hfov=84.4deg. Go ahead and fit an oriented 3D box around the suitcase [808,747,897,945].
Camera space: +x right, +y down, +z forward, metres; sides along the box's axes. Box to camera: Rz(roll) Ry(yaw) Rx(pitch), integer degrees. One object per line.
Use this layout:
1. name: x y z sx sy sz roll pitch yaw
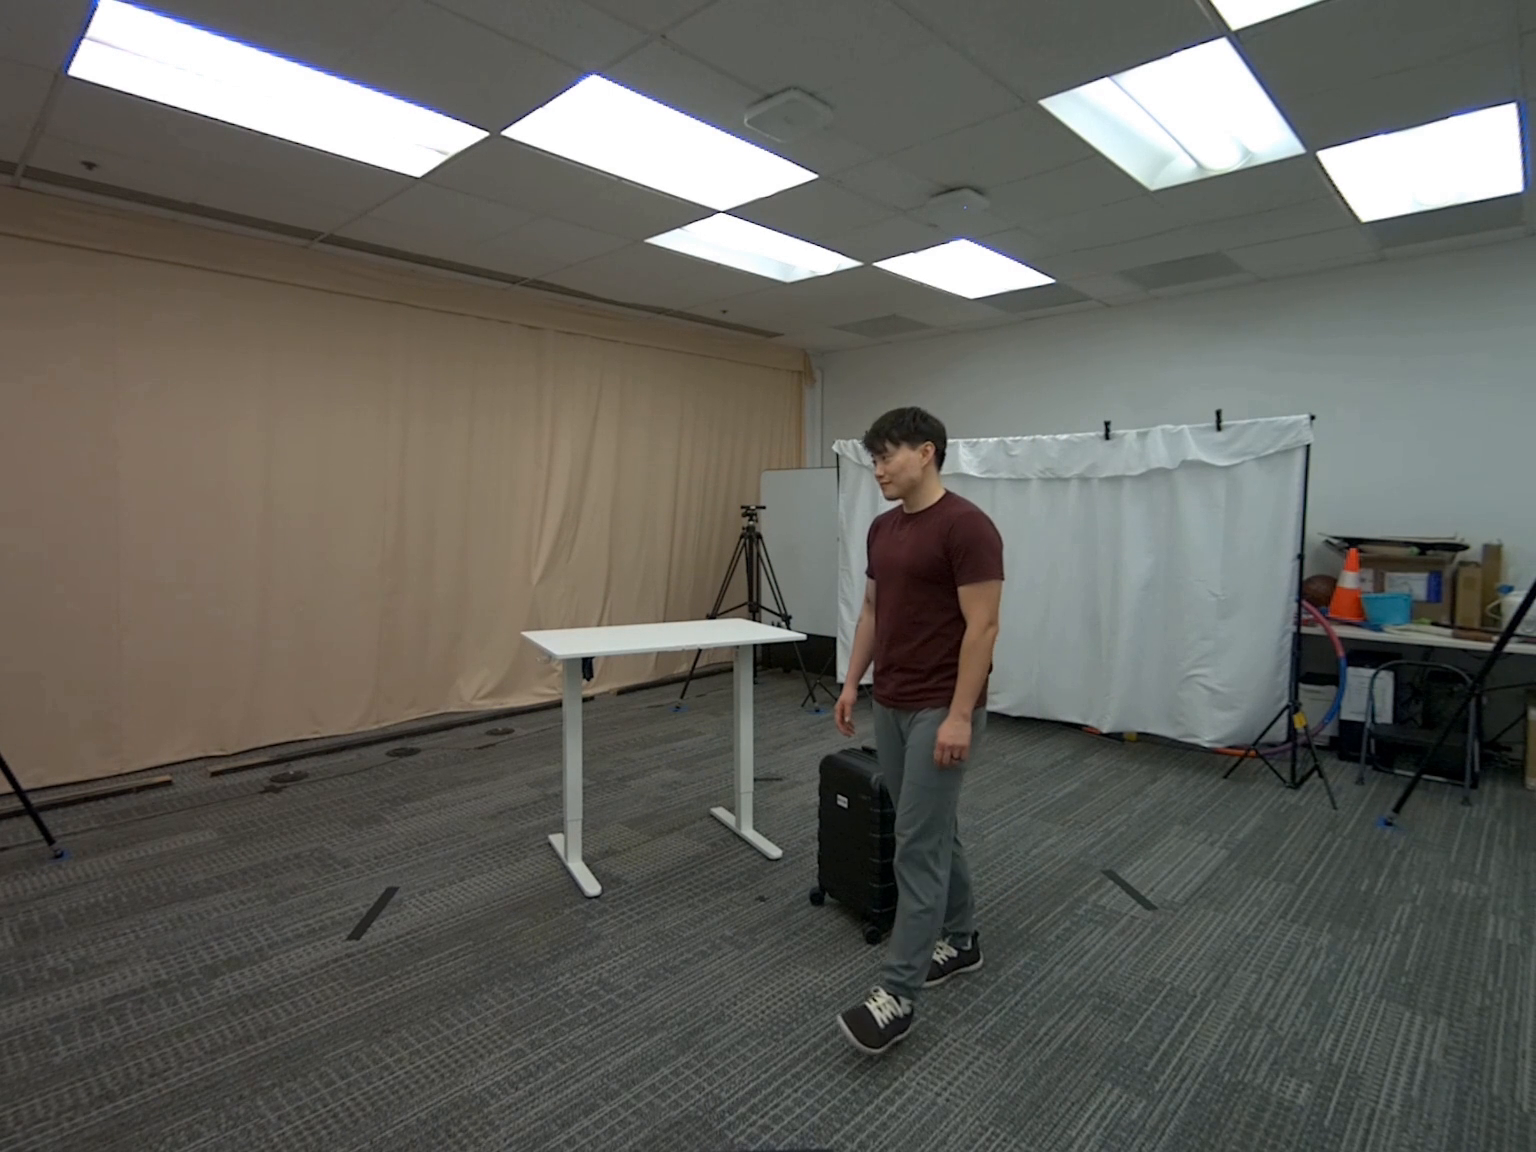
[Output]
1. suitcase: 0.357 0.675 2.846 0.250 0.977 0.394 -2 3 -28
